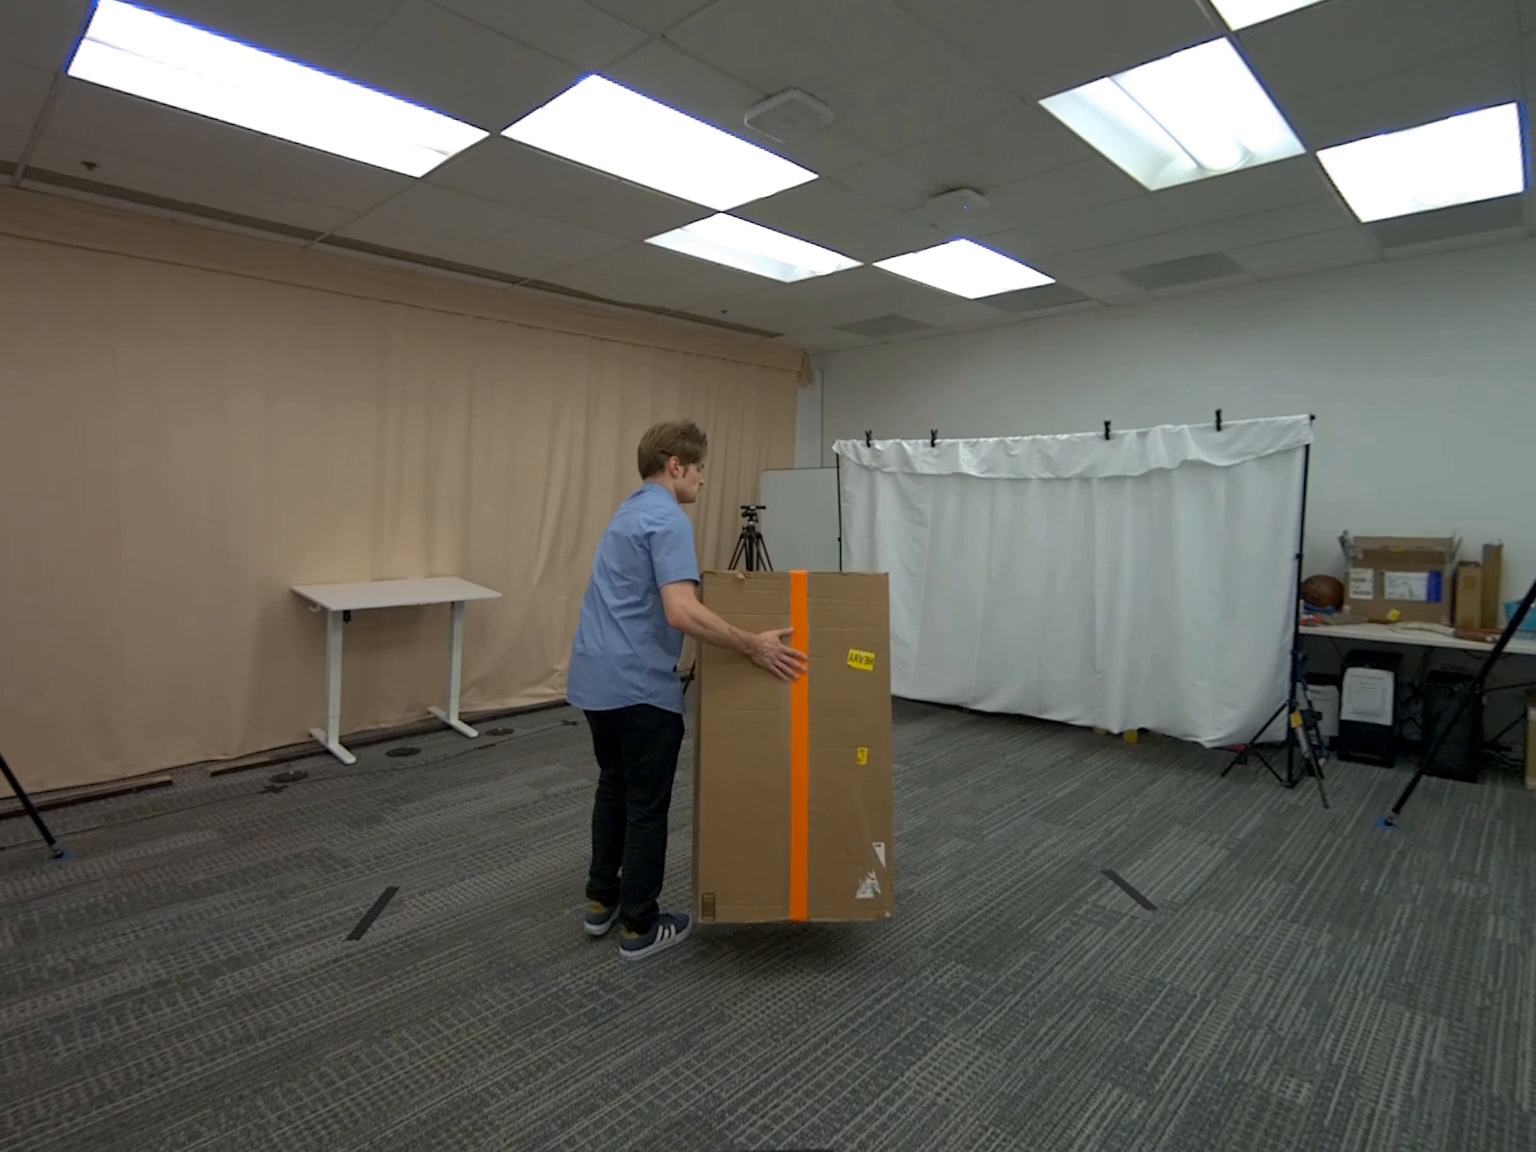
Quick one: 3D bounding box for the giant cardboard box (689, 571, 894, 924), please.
[{"bbox_3d":[0.062,0.514,2.697,0.582,1.030,0.447,1,-6,-4],"label":"giant cardboard box"}]
